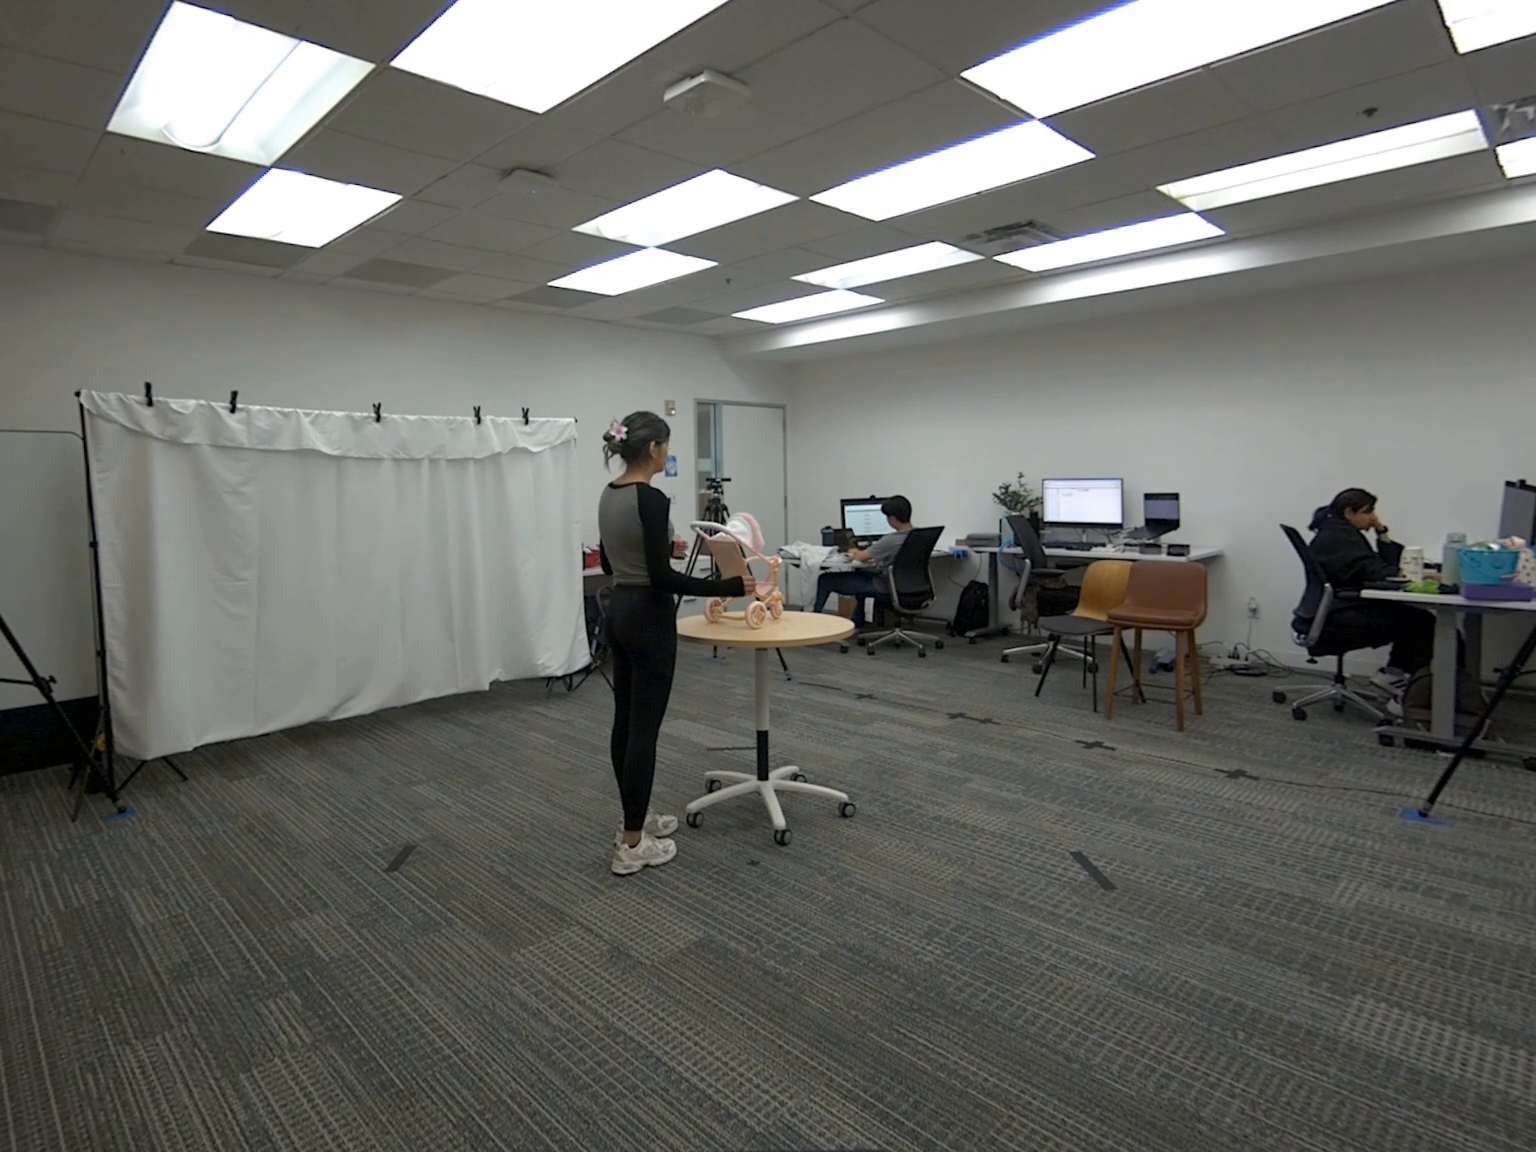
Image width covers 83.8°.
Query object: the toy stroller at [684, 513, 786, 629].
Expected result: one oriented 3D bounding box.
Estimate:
[{"bbox_3d":[-0.098,-0.023,3.546,0.336,0.527,0.290,-24,18,-37],"label":"toy stroller"}]
